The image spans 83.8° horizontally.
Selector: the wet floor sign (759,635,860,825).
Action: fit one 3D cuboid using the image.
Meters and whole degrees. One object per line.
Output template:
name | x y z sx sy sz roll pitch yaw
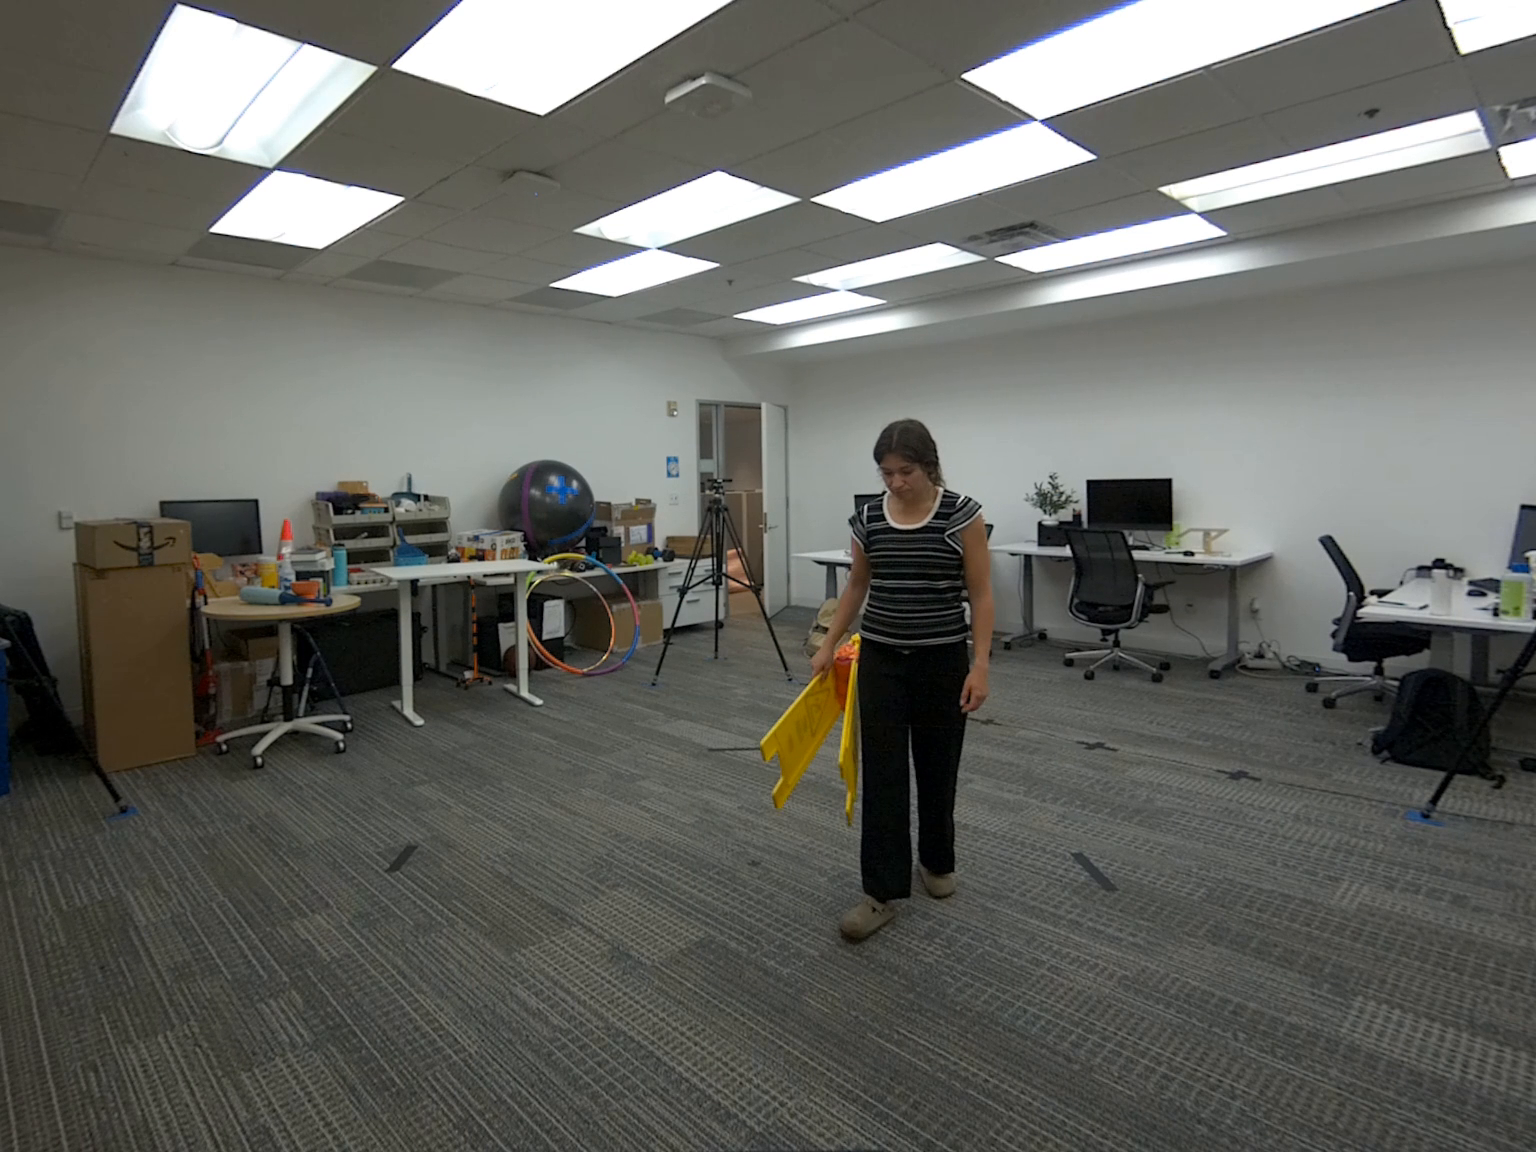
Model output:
wet floor sign | 0.222 0.461 2.844 0.296 0.274 0.651 4 35 20
